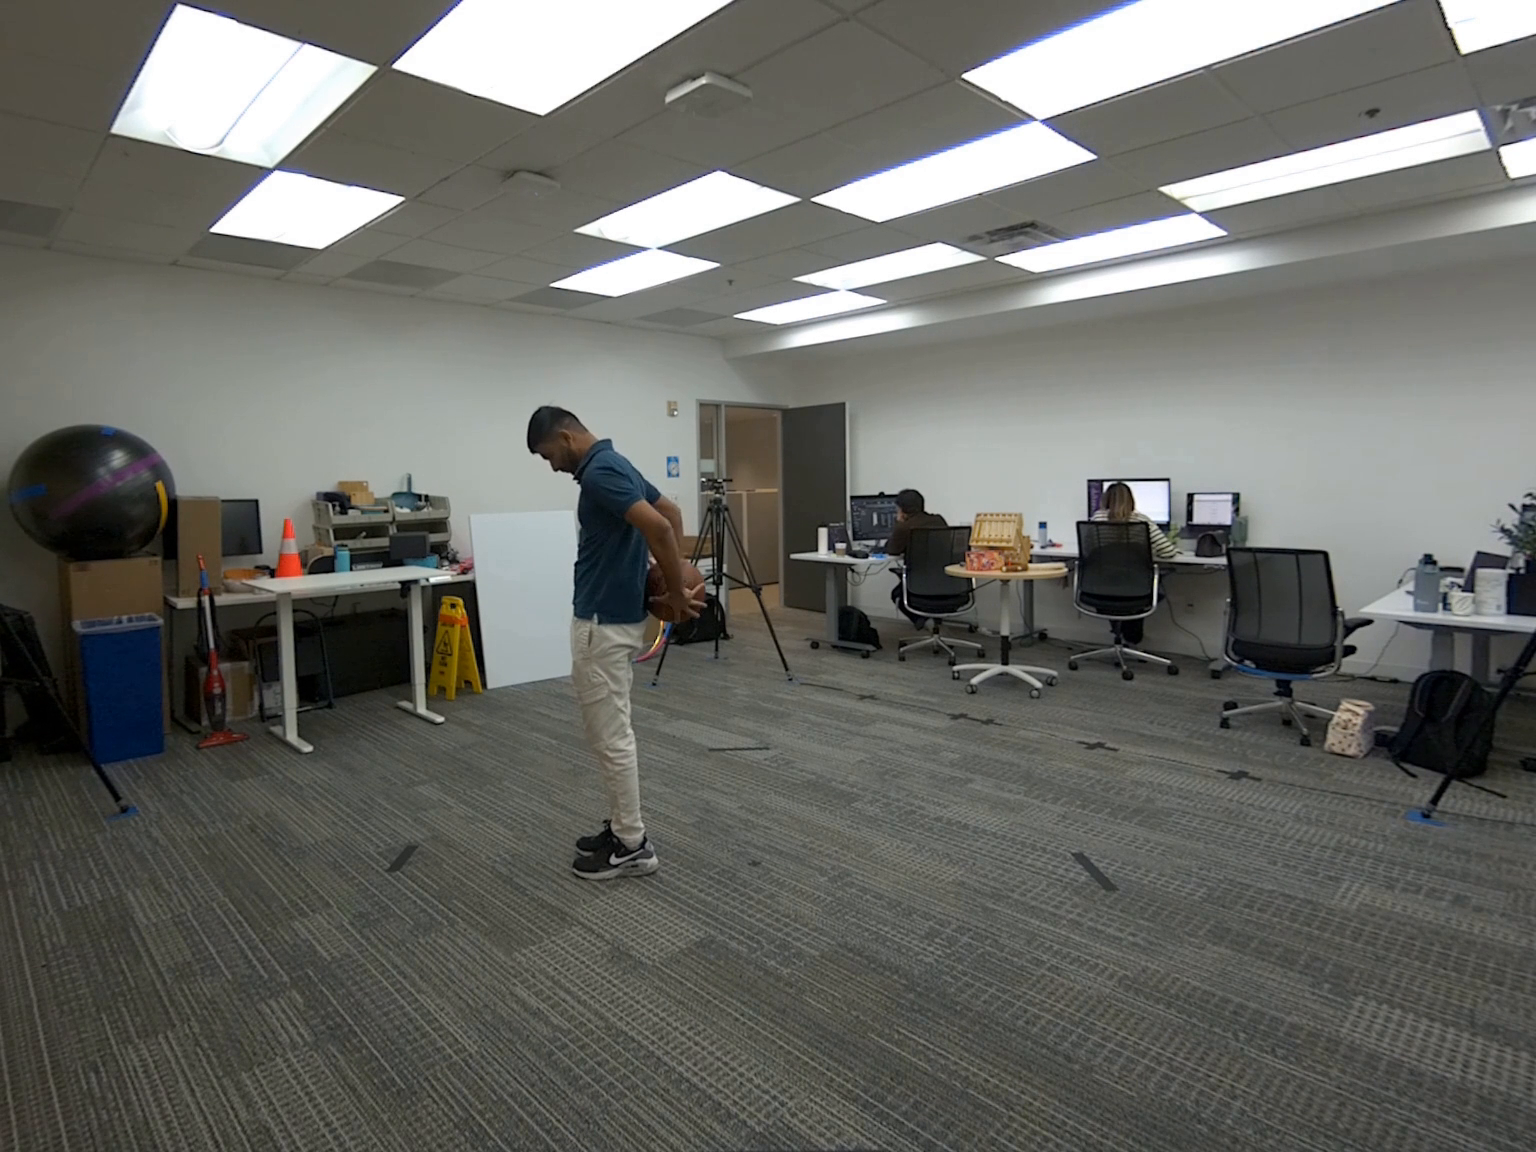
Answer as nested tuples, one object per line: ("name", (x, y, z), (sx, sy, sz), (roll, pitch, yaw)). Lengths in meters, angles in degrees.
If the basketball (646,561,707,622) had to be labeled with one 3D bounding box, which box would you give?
("basketball", (-0.353, 0.047, 3.132), (0.236, 0.235, 0.237), (-1, 5, -2))
